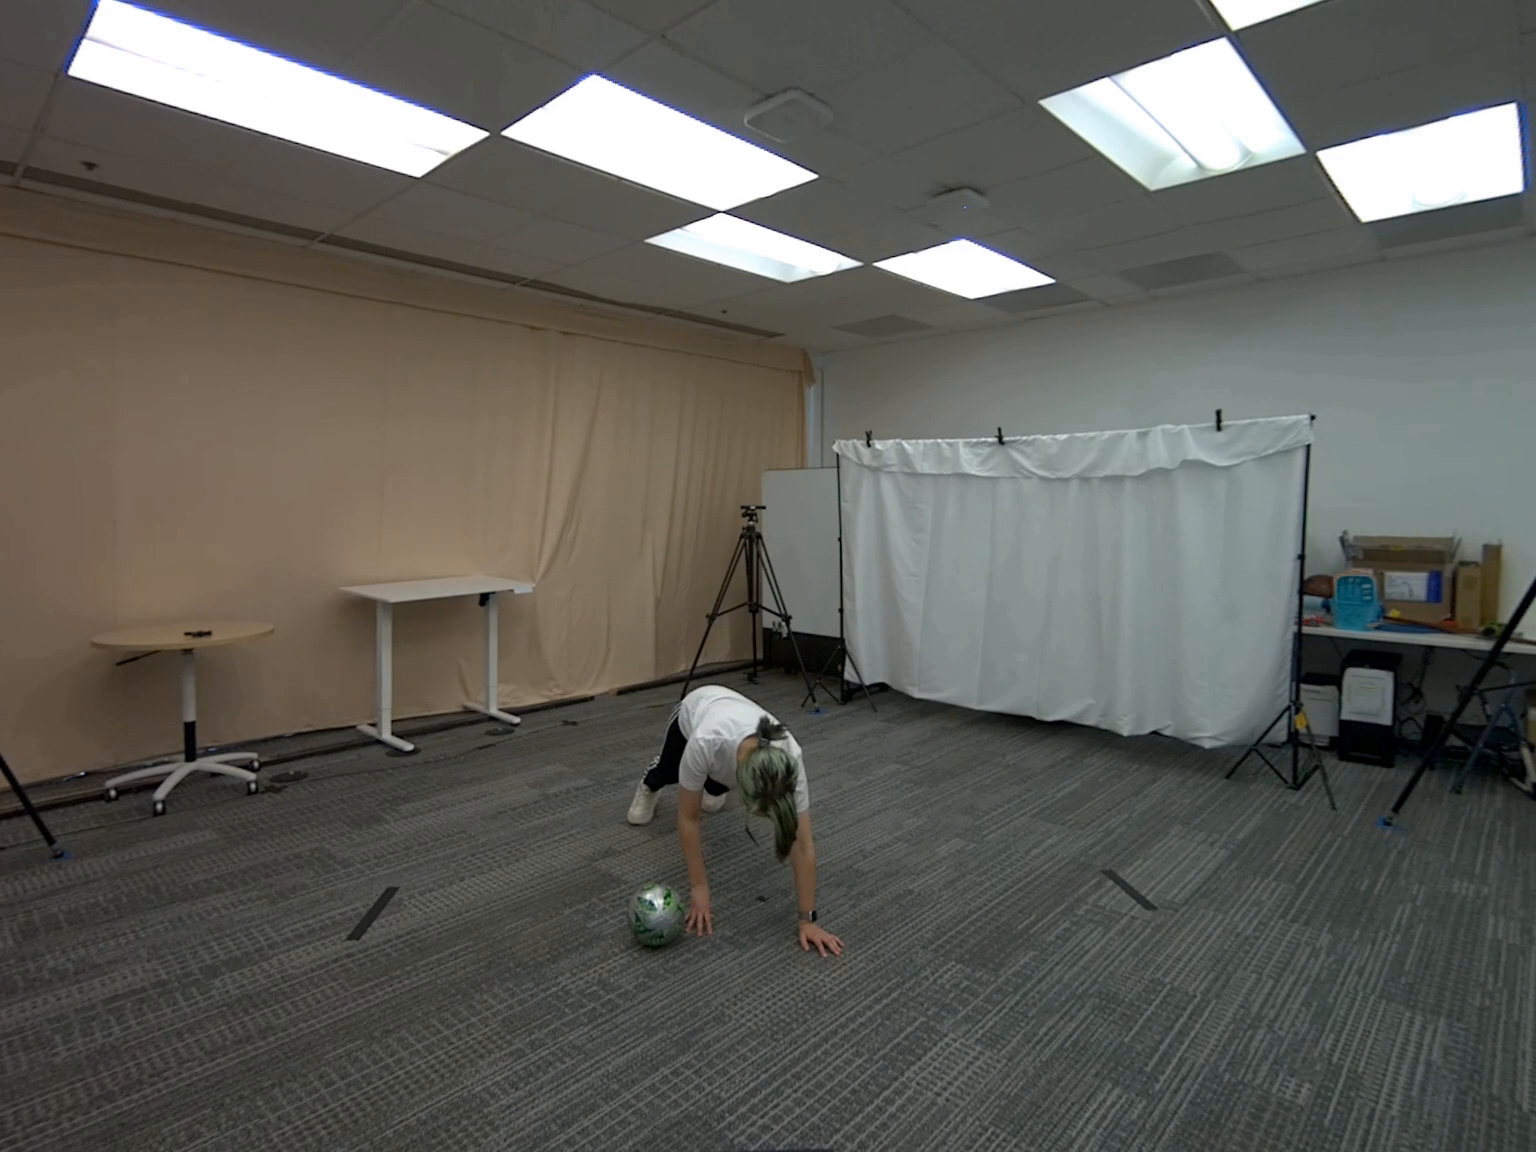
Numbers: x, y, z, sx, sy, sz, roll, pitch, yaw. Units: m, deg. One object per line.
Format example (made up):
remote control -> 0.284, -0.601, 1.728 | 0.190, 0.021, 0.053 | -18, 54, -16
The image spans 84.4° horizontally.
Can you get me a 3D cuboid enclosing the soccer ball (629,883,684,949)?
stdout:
soccer ball -> -0.364, 1.072, 2.688 | 0.187, 0.187, 0.188 | 0, 4, -2
